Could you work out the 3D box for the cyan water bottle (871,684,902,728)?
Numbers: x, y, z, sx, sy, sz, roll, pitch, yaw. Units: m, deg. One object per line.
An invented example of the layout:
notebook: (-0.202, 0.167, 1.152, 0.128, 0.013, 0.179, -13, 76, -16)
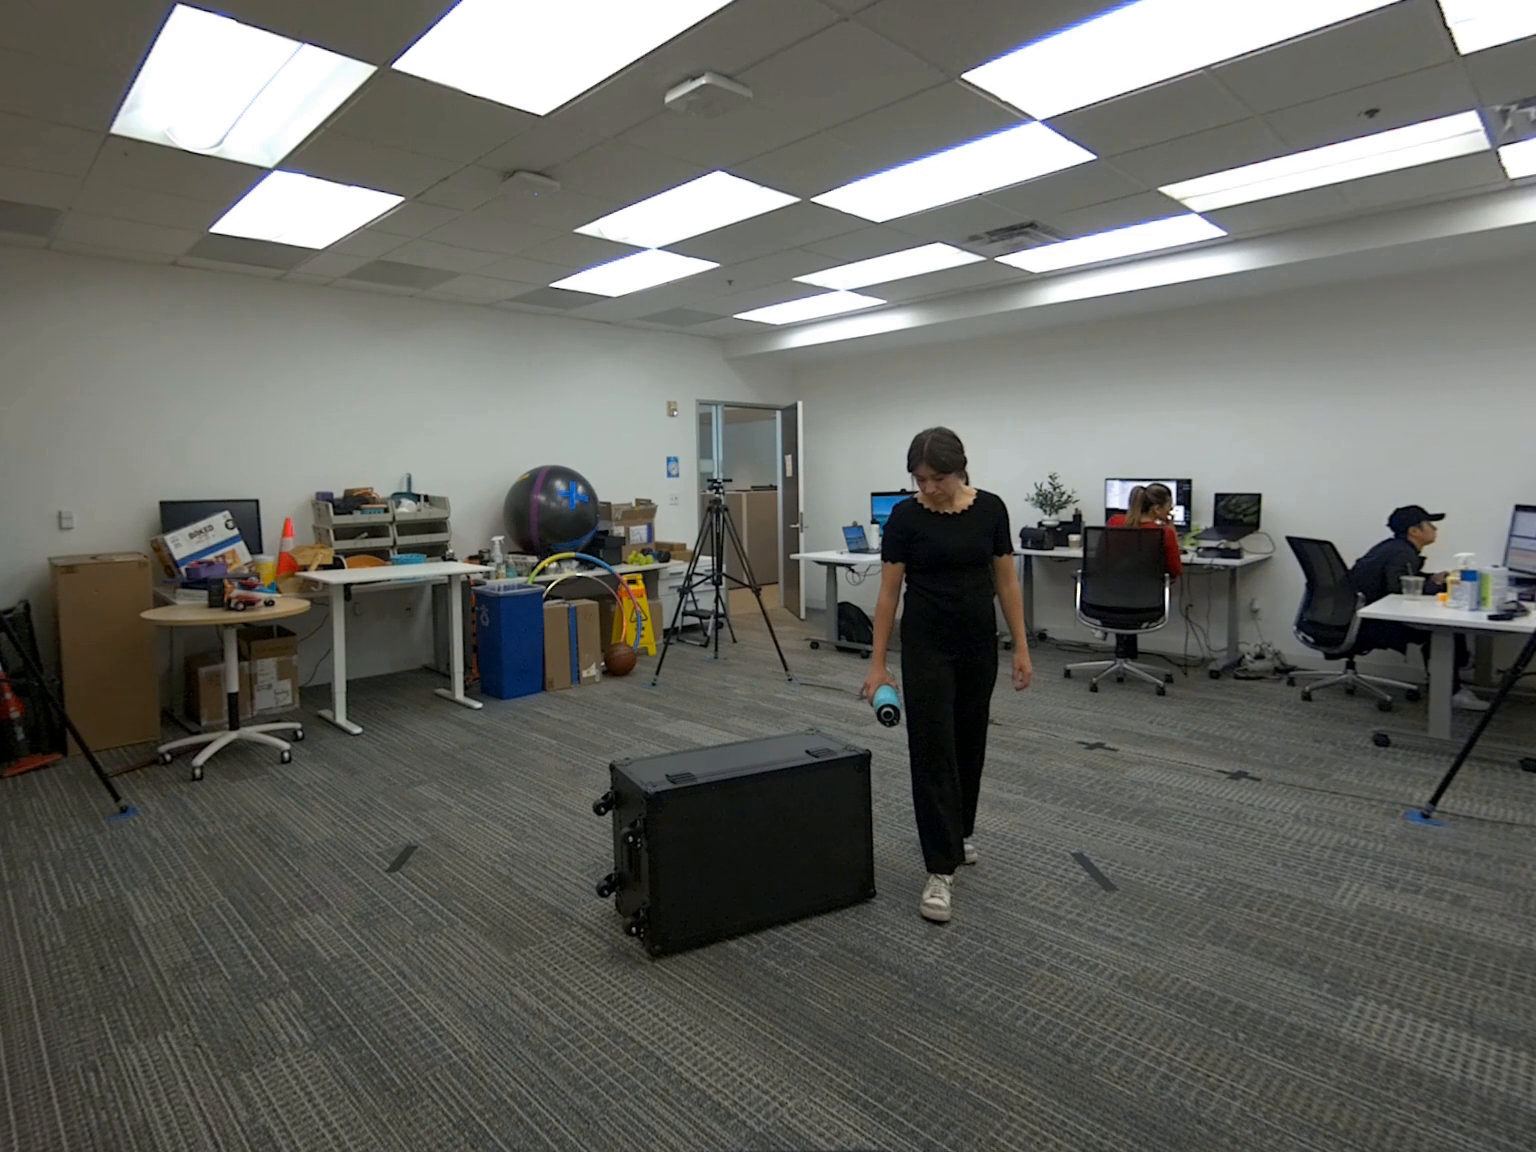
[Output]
cyan water bottle: (0.404, 0.415, 2.902, 0.092, 0.090, 0.288, -1, 21, 2)
